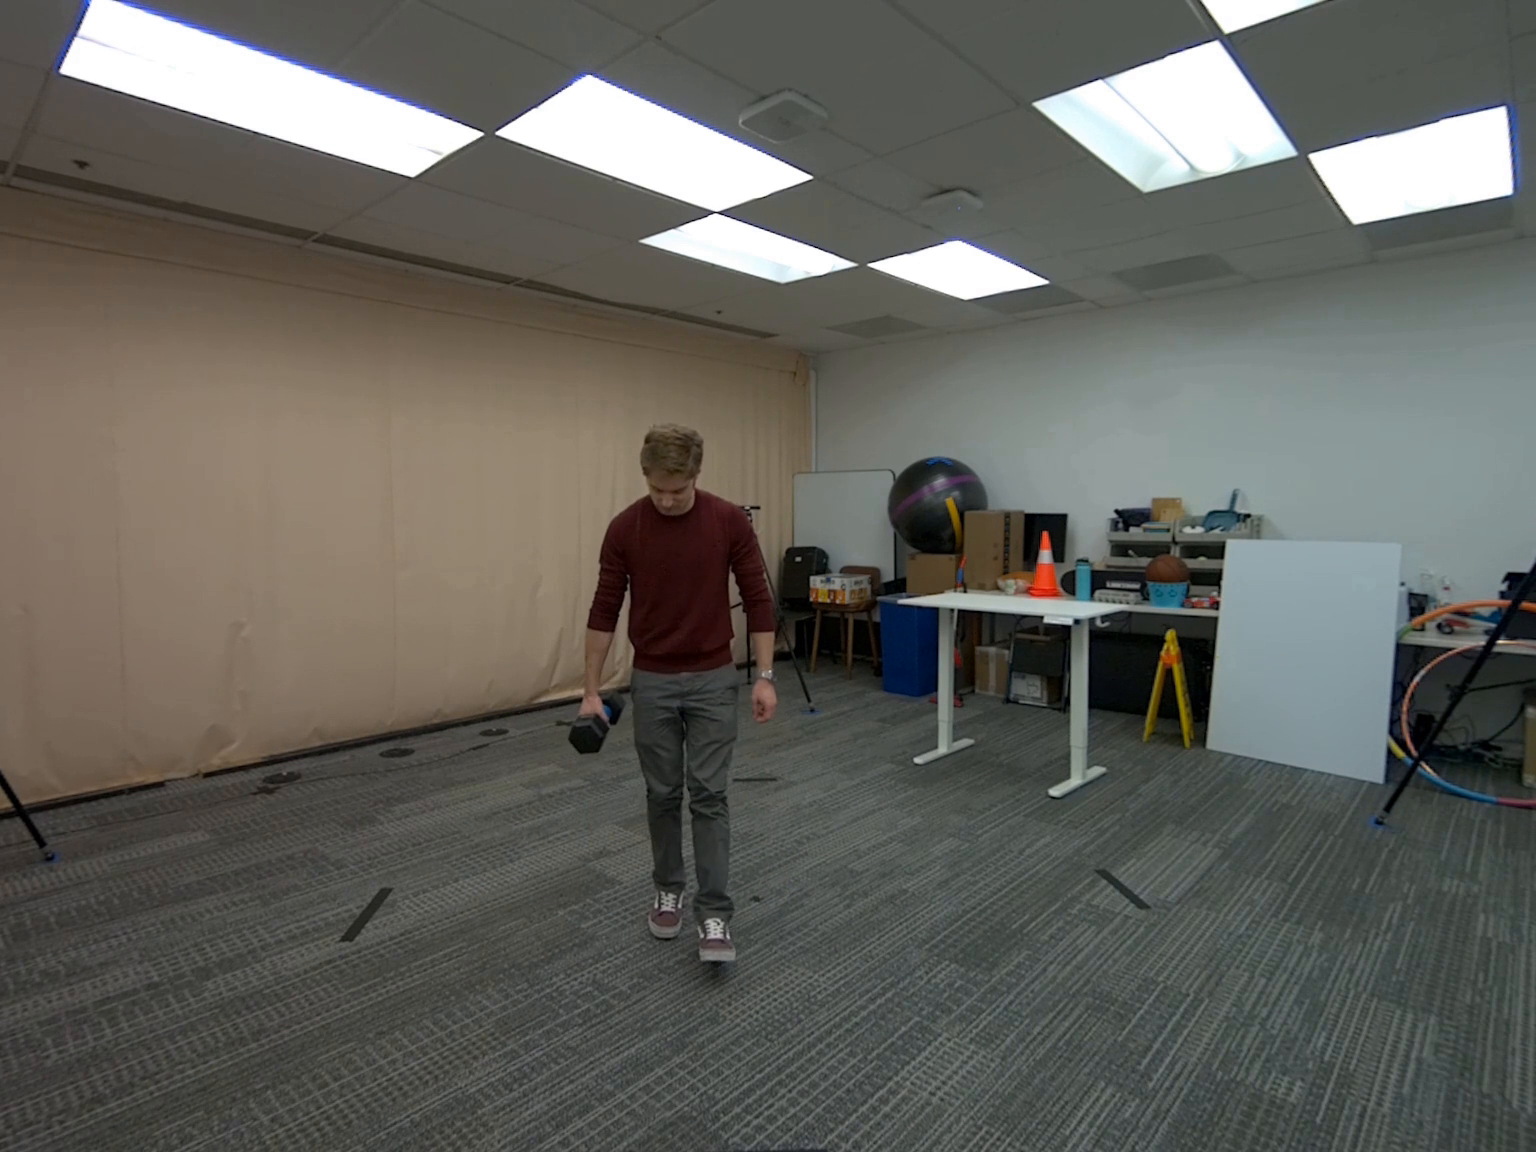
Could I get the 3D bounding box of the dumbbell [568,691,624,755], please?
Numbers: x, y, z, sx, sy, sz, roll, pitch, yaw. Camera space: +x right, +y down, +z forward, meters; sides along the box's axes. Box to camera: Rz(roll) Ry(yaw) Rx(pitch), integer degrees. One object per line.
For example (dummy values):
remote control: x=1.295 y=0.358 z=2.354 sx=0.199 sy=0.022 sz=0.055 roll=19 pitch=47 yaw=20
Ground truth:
dumbbell: x=-0.552 y=0.478 z=2.749 sx=0.109 sy=0.123 sz=0.293 roll=22 pitch=11 yaw=0
